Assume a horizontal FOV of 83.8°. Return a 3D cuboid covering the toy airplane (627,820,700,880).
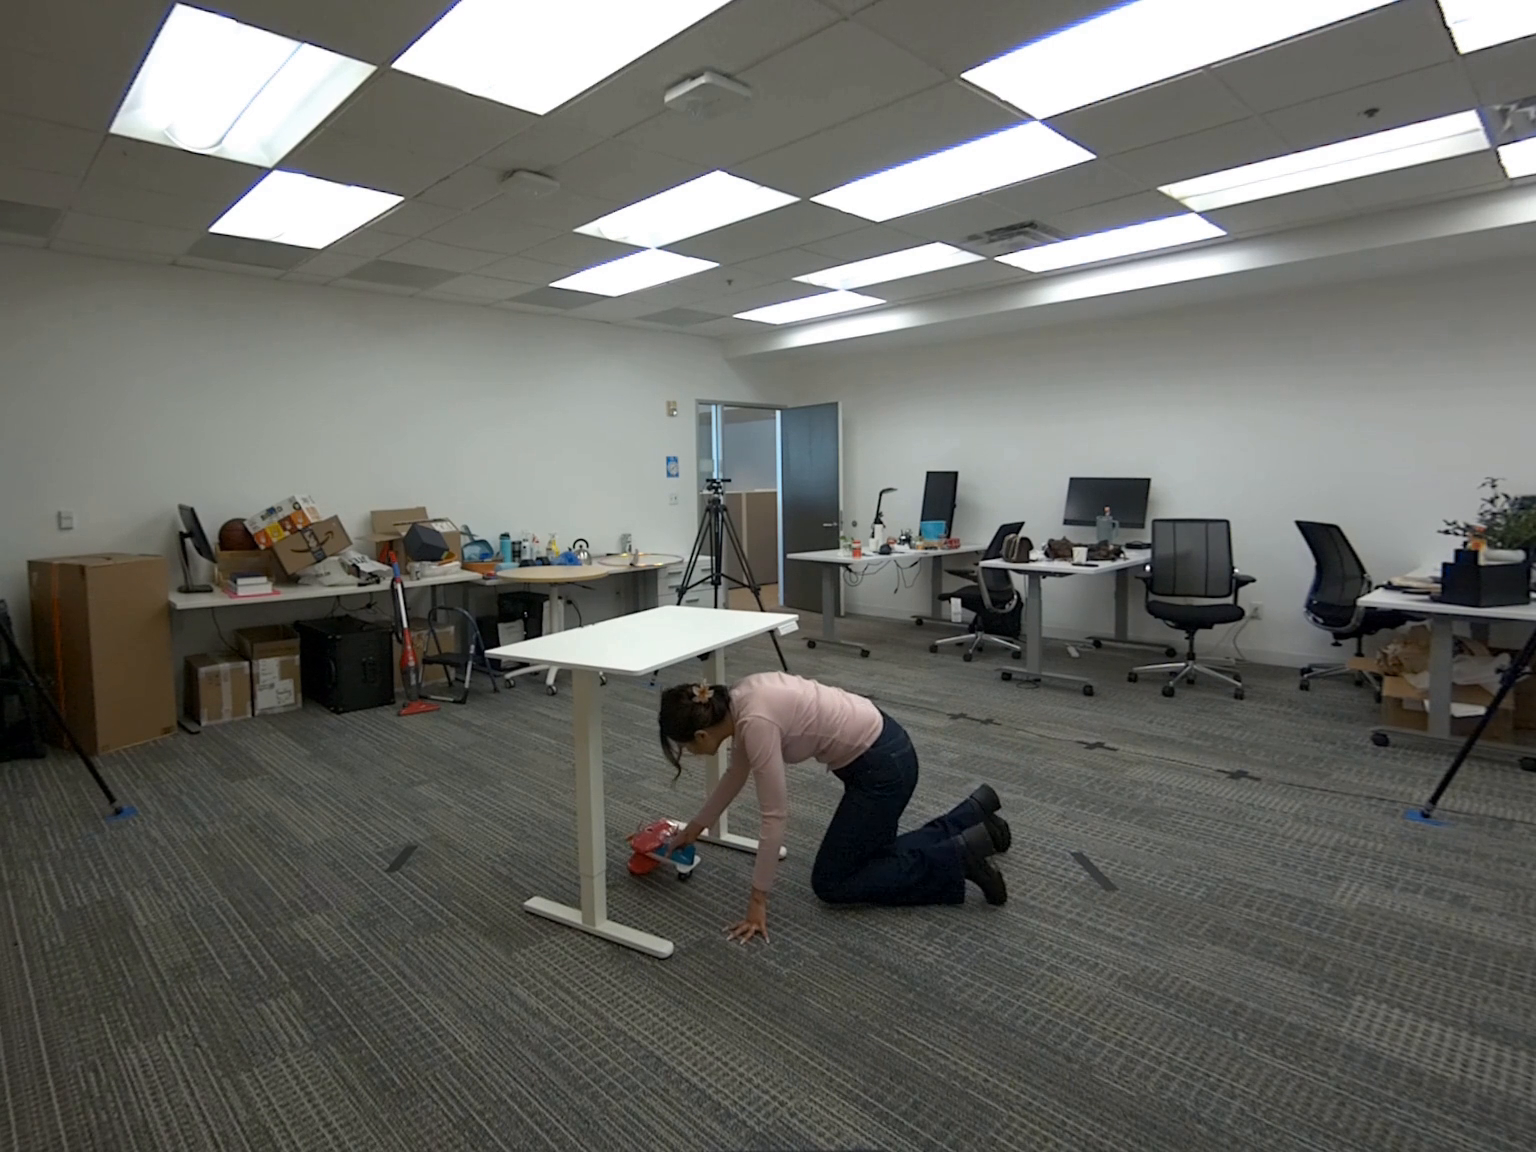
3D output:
[{"bbox_3d":[-0.365,0.982,3.053,0.258,0.156,0.253,-3,6,-5],"label":"toy airplane"}]
